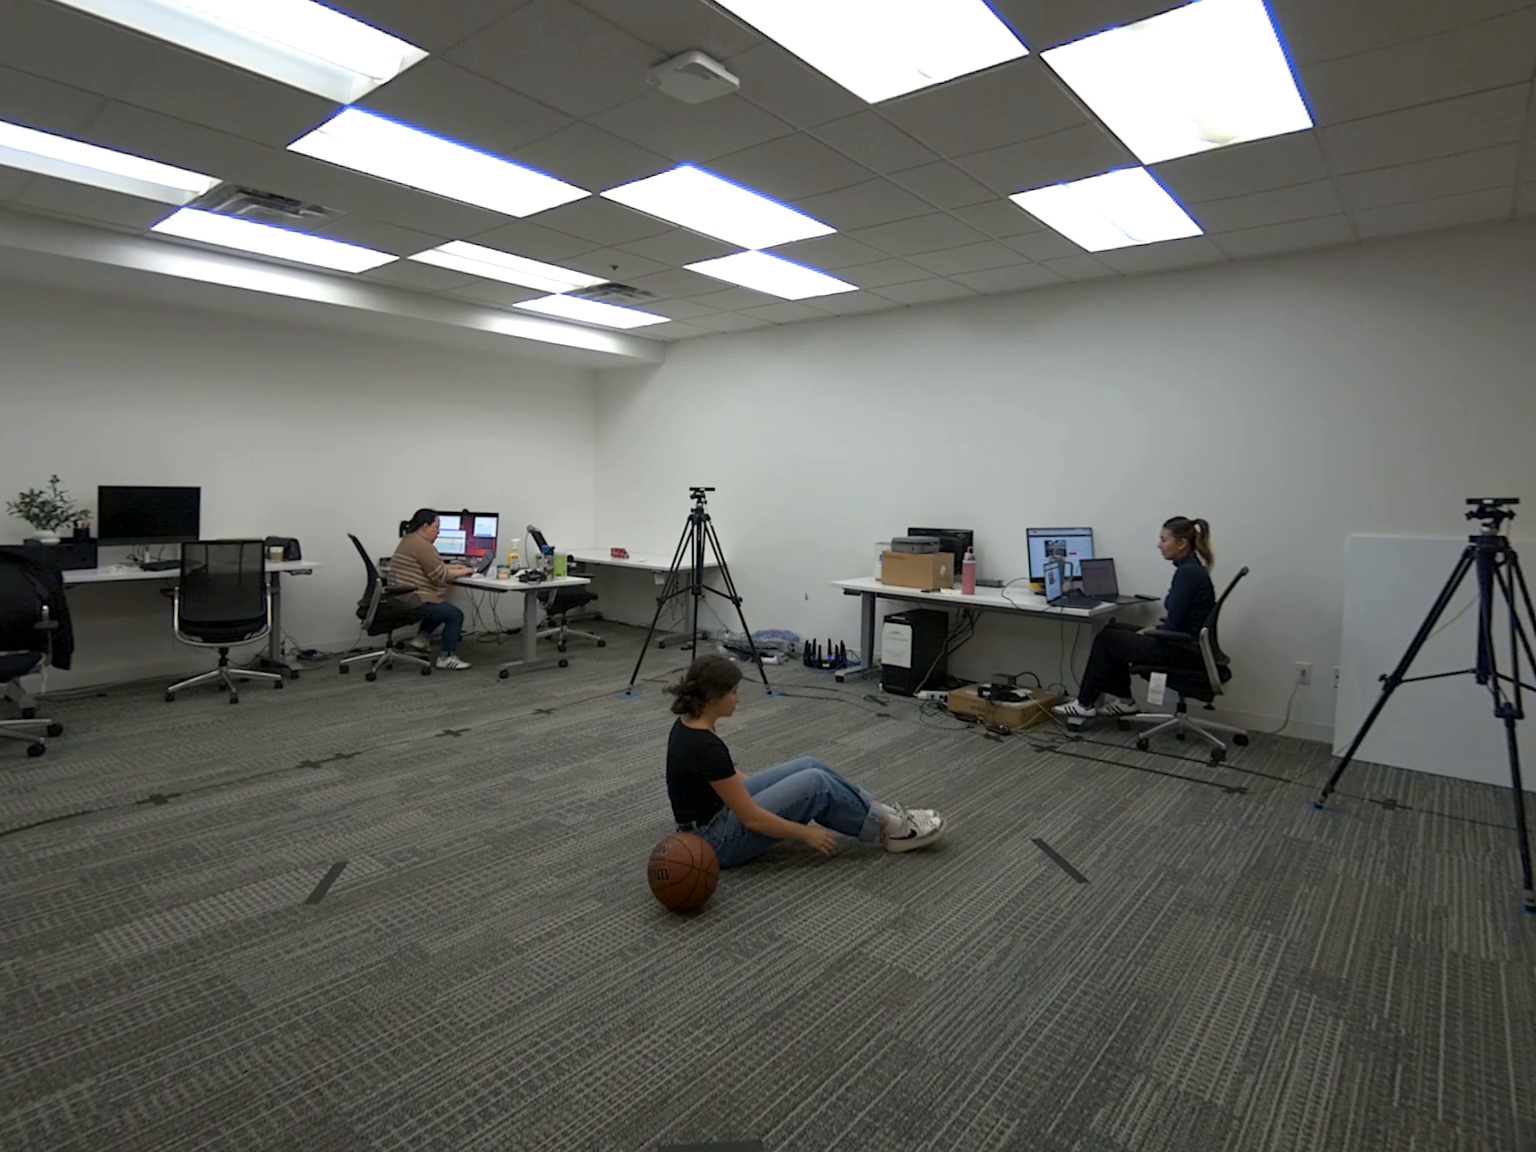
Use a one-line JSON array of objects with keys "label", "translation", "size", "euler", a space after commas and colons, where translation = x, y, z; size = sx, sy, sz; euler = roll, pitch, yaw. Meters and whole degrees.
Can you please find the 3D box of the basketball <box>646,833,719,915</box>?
[{"label": "basketball", "translation": [-0.284, 0.969, 2.815], "size": [0.235, 0.235, 0.237], "euler": [1, 4, -2]}]
